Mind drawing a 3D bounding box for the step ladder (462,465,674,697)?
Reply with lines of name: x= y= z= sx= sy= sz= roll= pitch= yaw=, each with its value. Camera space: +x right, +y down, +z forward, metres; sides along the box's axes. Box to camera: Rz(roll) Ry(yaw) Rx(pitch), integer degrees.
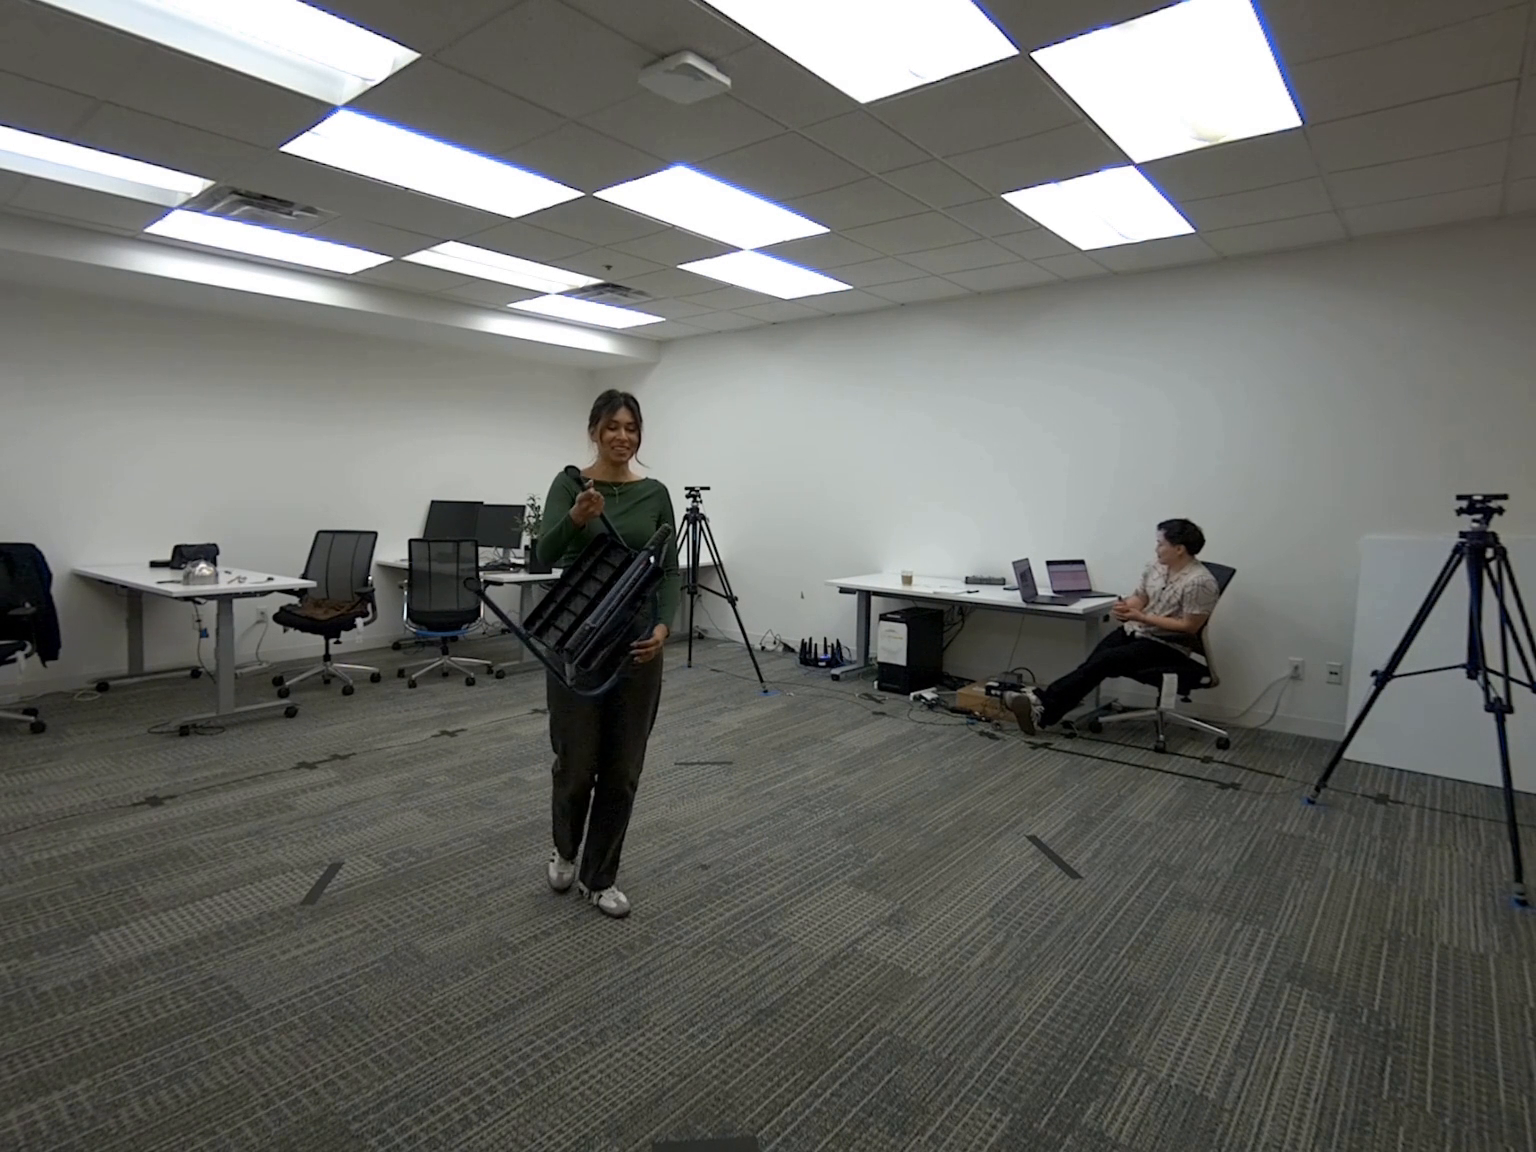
step ladder: x=-0.511 y=0.082 z=2.392 sx=0.358 sy=0.431 sz=0.589 roll=30 pitch=-23 yaw=17
